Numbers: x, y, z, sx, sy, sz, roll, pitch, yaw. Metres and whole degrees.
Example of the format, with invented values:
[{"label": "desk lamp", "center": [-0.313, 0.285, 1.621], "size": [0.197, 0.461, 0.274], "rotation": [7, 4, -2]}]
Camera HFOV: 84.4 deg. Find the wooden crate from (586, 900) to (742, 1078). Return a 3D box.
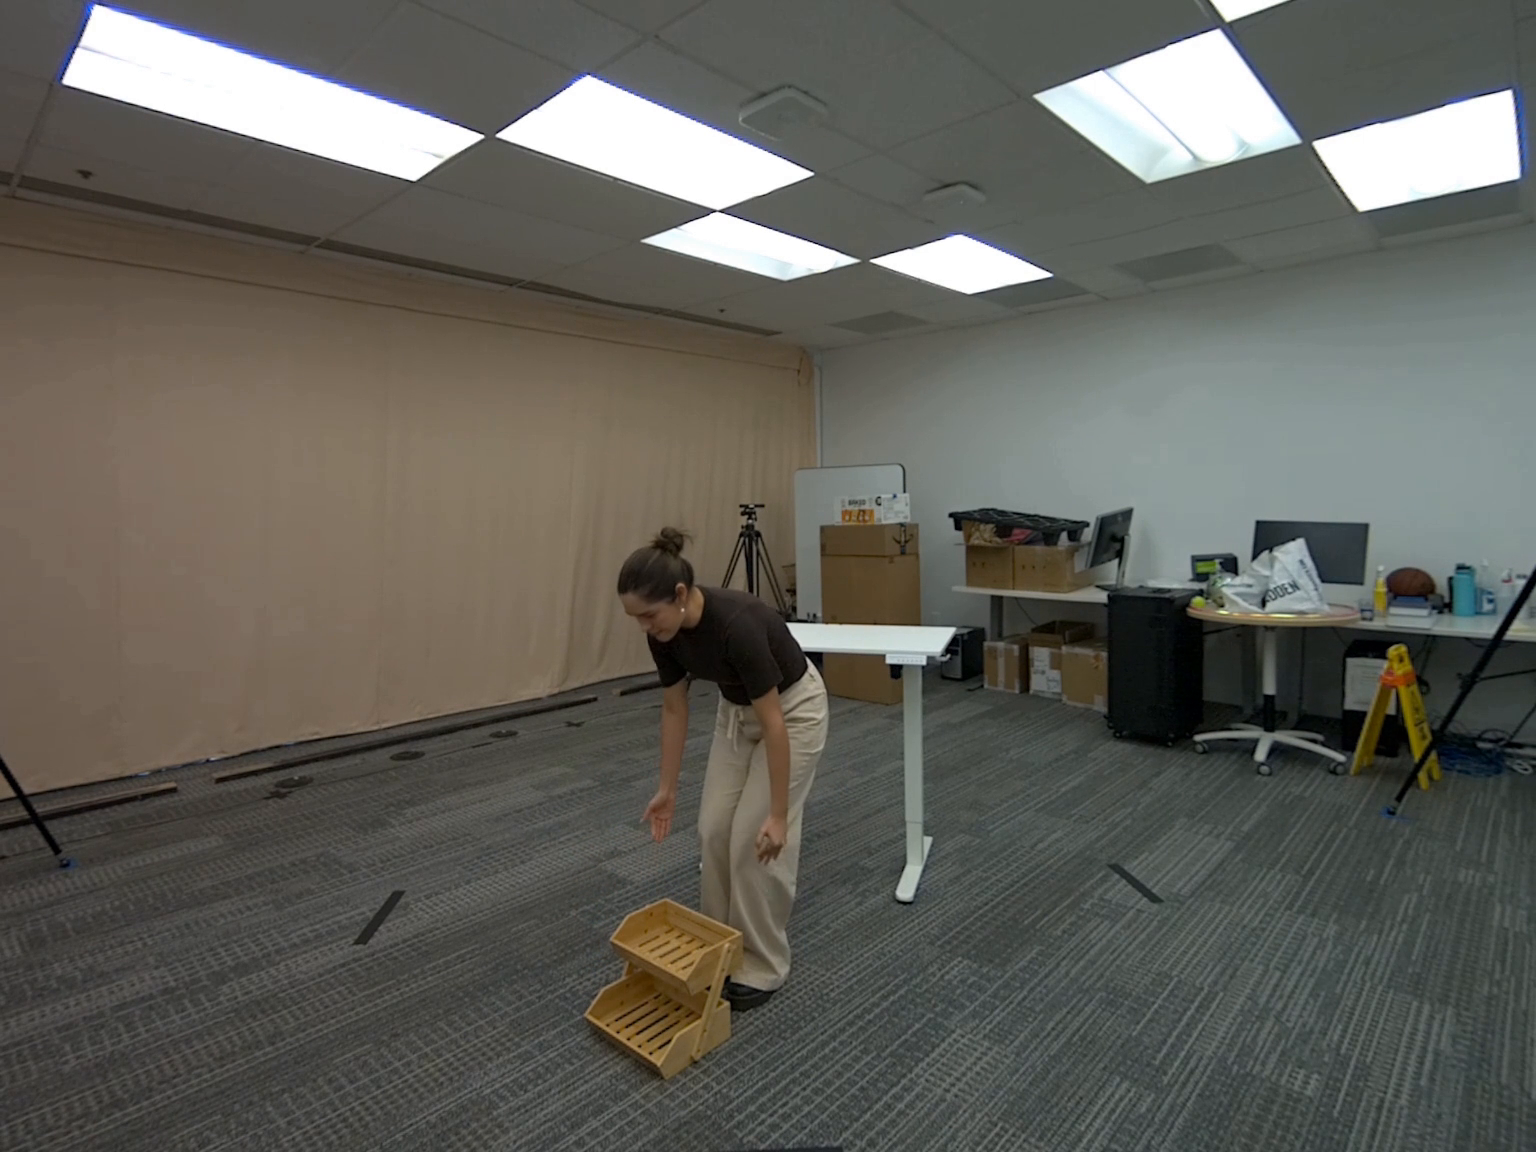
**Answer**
[{"label": "wooden crate", "center": [-0.279, 1.081, 2.225], "size": [0.335, 0.273, 0.293], "rotation": [2, 4, 43]}]
